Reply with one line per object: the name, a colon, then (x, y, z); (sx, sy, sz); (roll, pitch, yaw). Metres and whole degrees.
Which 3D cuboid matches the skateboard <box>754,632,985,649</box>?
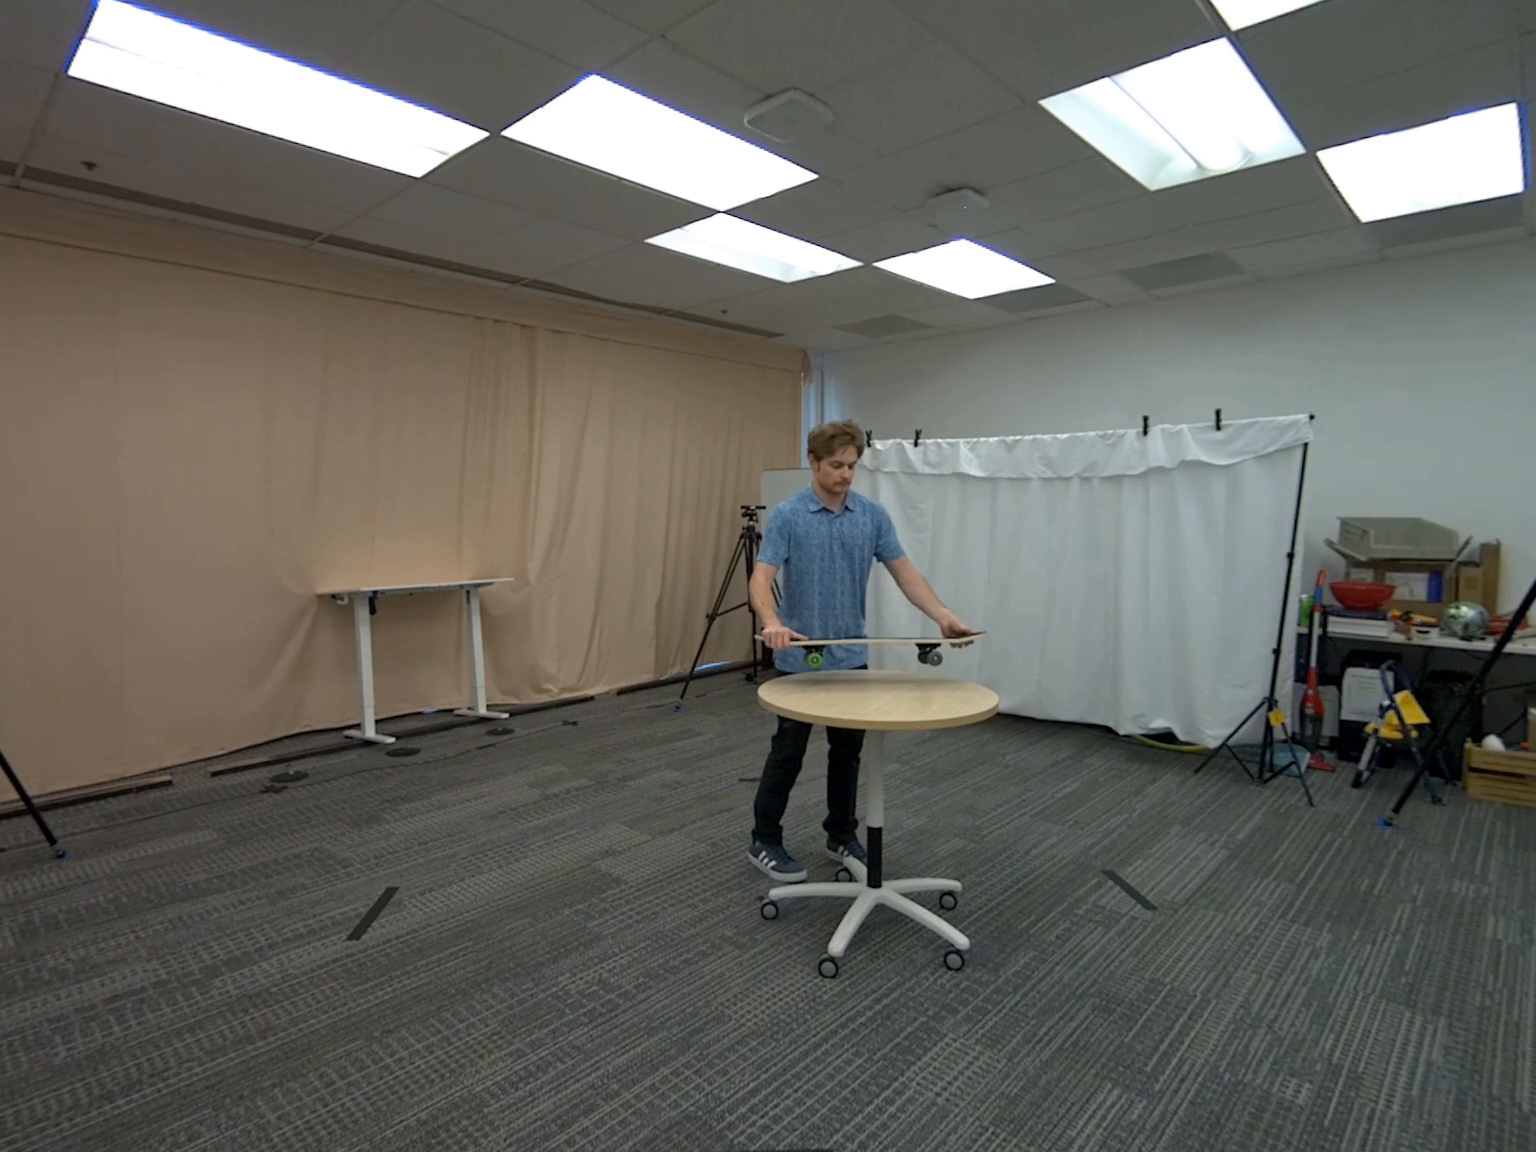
skateboard: (0.360, 0.251, 2.870); (0.786, 0.110, 0.193); (-1, -3, 0)
